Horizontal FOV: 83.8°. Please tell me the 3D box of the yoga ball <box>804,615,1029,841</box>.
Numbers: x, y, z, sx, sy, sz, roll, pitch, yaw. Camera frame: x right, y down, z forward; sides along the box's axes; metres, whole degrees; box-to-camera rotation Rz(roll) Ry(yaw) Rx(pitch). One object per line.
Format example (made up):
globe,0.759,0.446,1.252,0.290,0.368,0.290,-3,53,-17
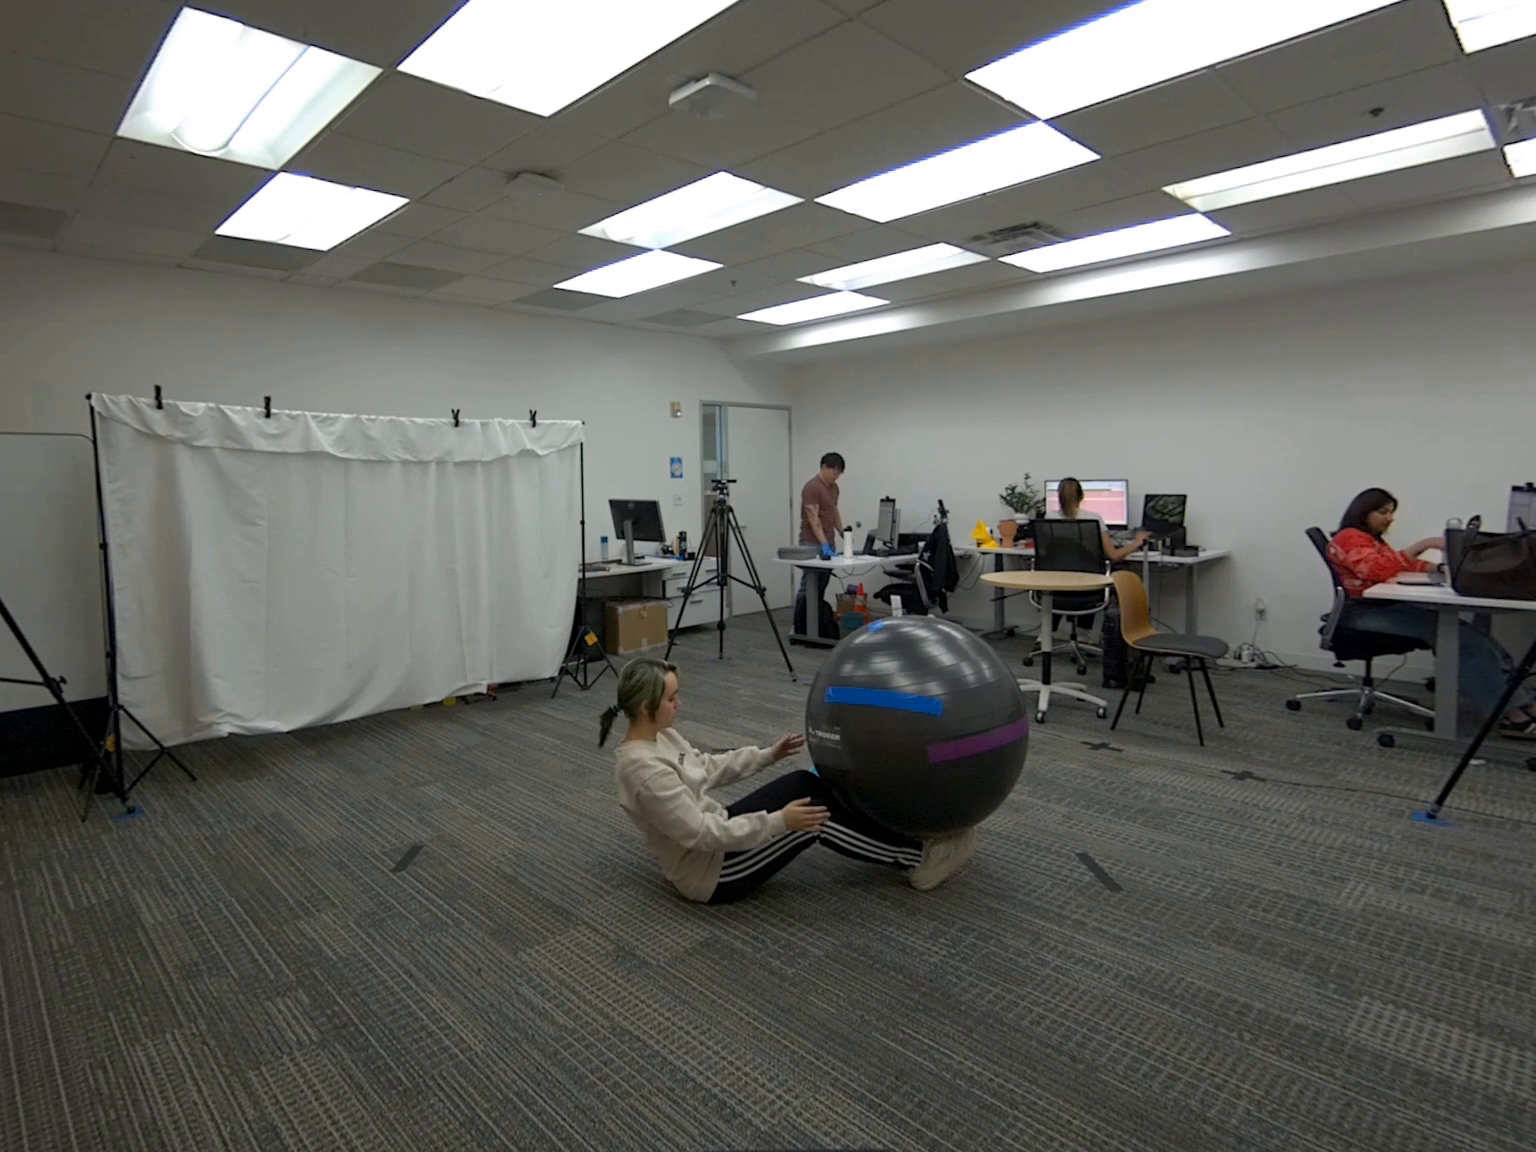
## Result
yoga ball,0.526,0.525,2.984,0.757,0.755,0.762,-1,5,-2
